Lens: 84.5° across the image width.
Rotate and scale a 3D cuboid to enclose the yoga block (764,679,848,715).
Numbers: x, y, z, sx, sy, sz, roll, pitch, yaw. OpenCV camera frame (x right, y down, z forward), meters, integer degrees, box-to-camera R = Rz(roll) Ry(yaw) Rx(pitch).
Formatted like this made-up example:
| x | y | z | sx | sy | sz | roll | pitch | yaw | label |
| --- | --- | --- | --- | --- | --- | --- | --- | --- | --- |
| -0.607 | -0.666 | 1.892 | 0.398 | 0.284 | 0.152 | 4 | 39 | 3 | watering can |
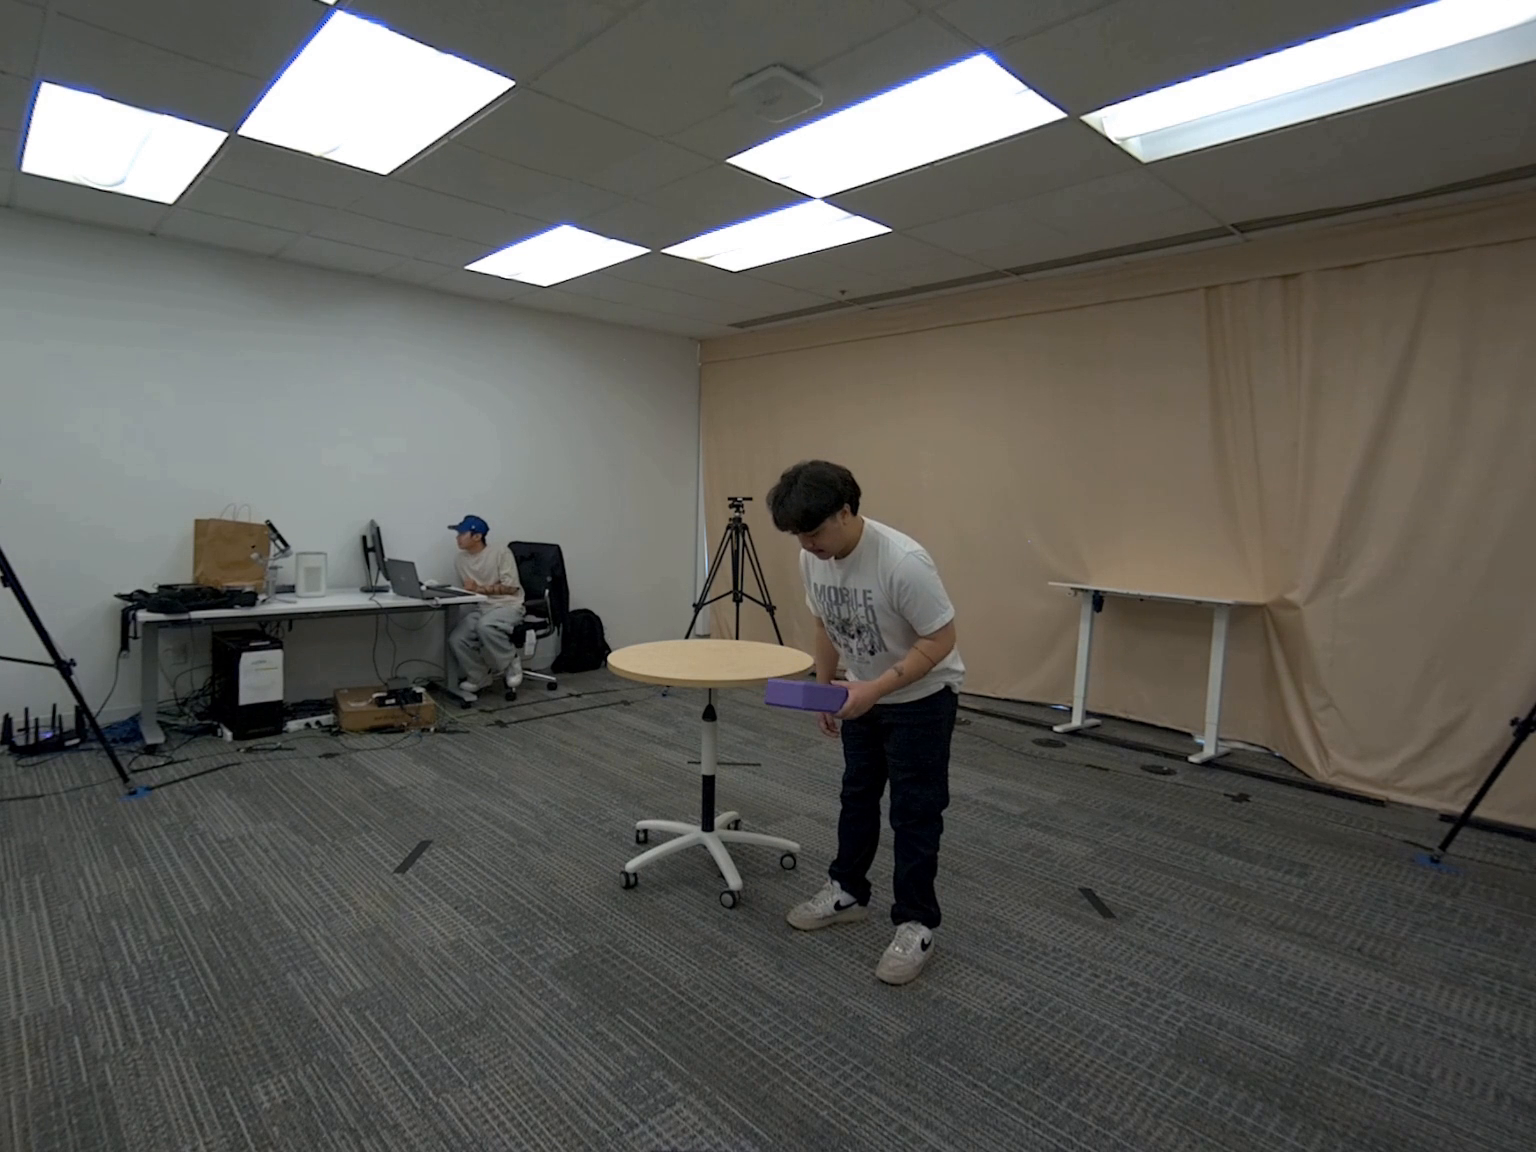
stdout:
| x | y | z | sx | sy | sz | roll | pitch | yaw | label |
| --- | --- | --- | --- | --- | --- | --- | --- | --- | --- |
| 0.121 | 0.348 | 2.374 | 0.152 | 0.077 | 0.223 | 1 | -7 | 42 | yoga block |
